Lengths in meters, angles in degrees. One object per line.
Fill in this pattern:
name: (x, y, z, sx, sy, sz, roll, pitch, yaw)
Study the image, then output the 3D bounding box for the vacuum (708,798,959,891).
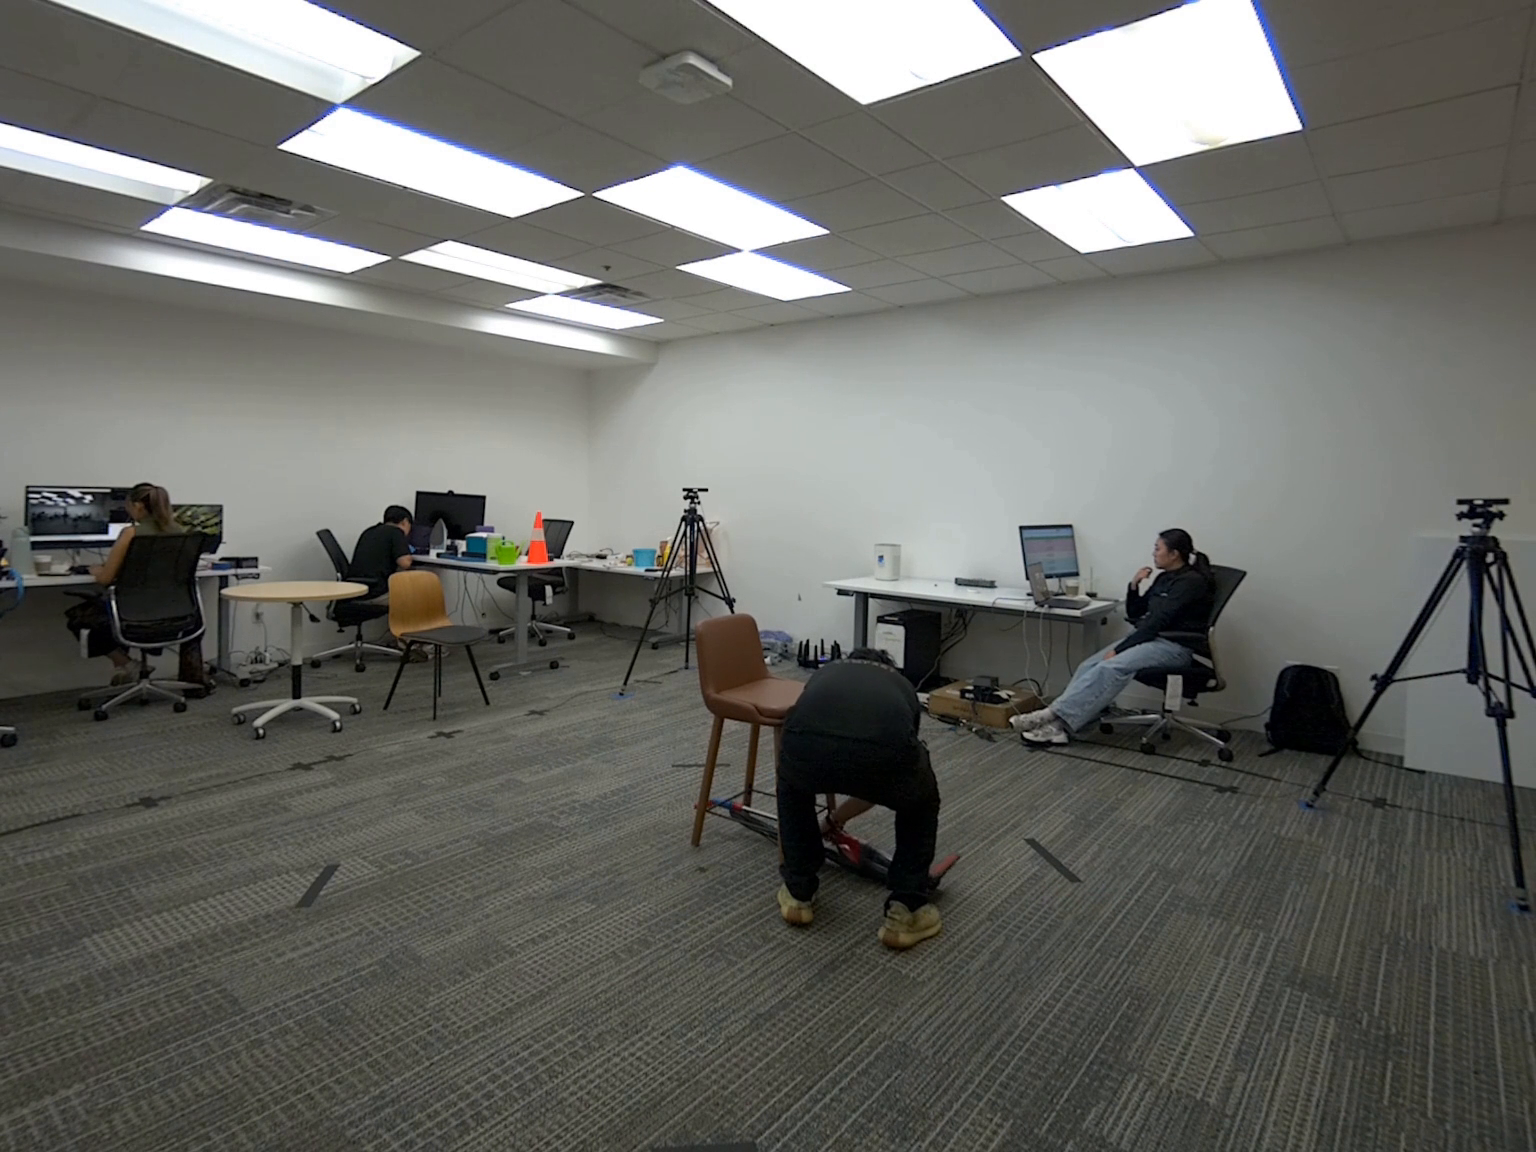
vacuum: (0.148, 1.011, 3.241, 1.083, 0.143, 0.245, 4, 6, 36)
